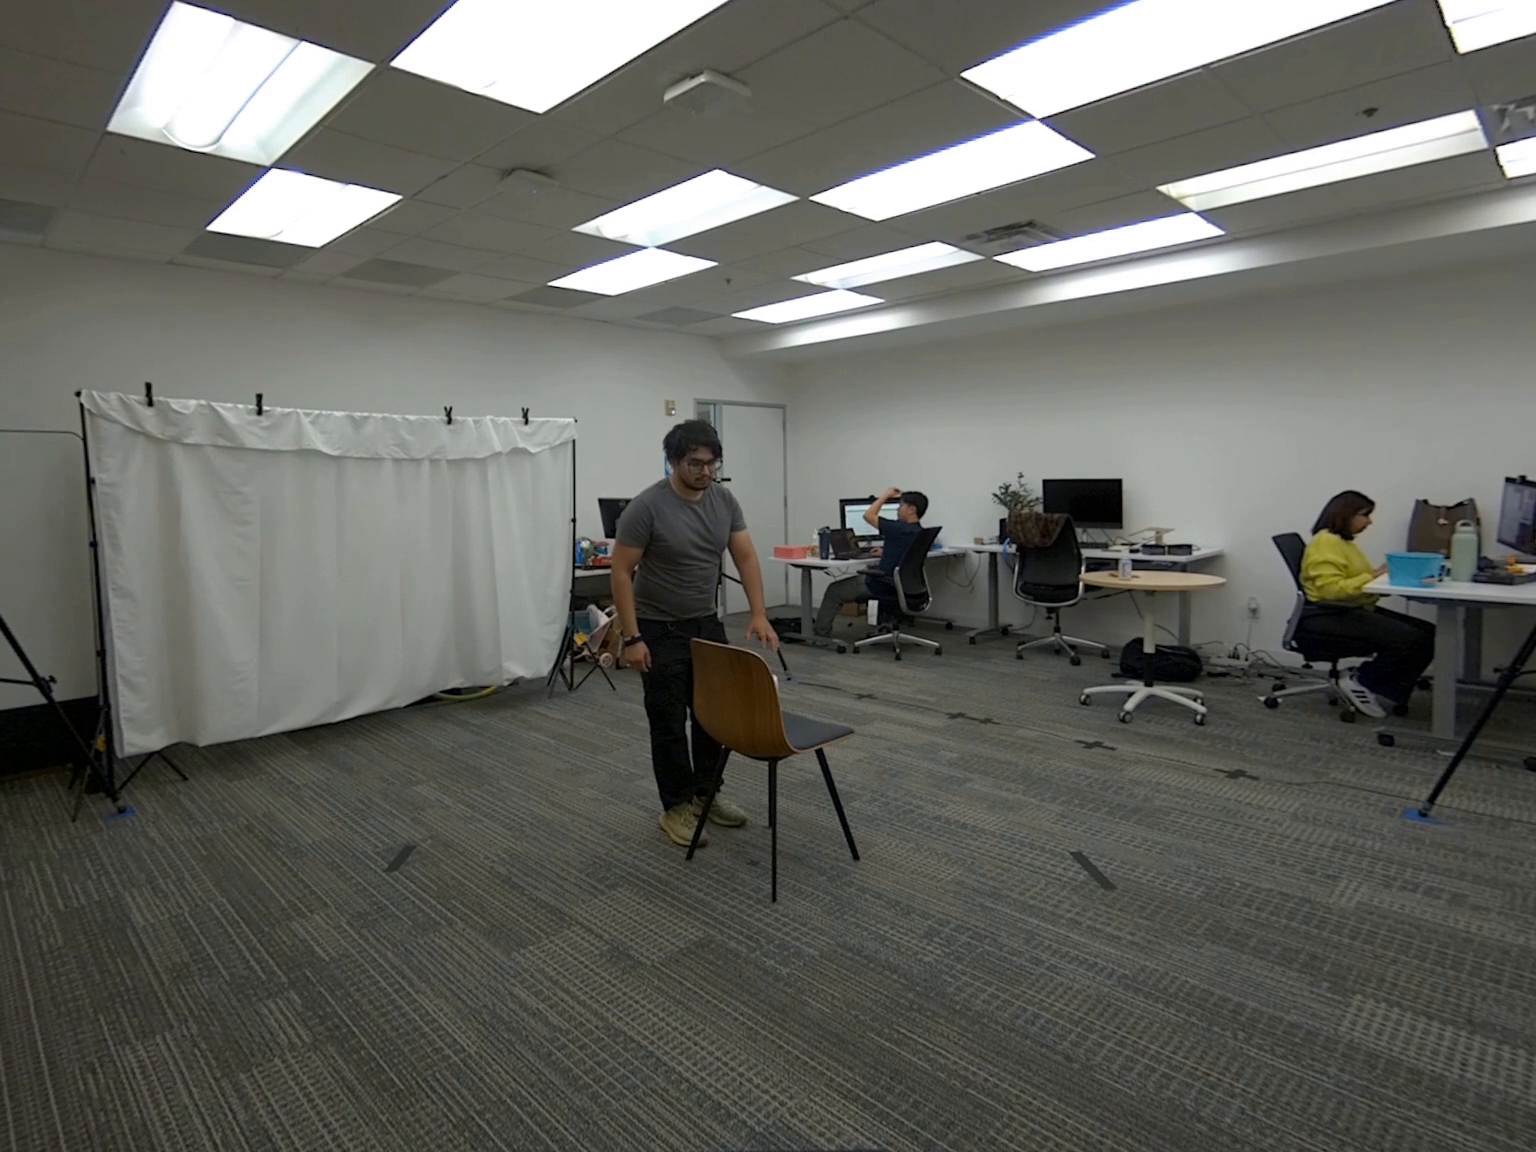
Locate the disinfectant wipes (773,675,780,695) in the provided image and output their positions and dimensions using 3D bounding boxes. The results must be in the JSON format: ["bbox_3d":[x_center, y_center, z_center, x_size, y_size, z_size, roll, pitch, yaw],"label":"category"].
[{"bbox_3d":[-0.012,0.468,3.058,0.118,0.216,0.118,-3,4,-1],"label":"disinfectant wipes"}]
